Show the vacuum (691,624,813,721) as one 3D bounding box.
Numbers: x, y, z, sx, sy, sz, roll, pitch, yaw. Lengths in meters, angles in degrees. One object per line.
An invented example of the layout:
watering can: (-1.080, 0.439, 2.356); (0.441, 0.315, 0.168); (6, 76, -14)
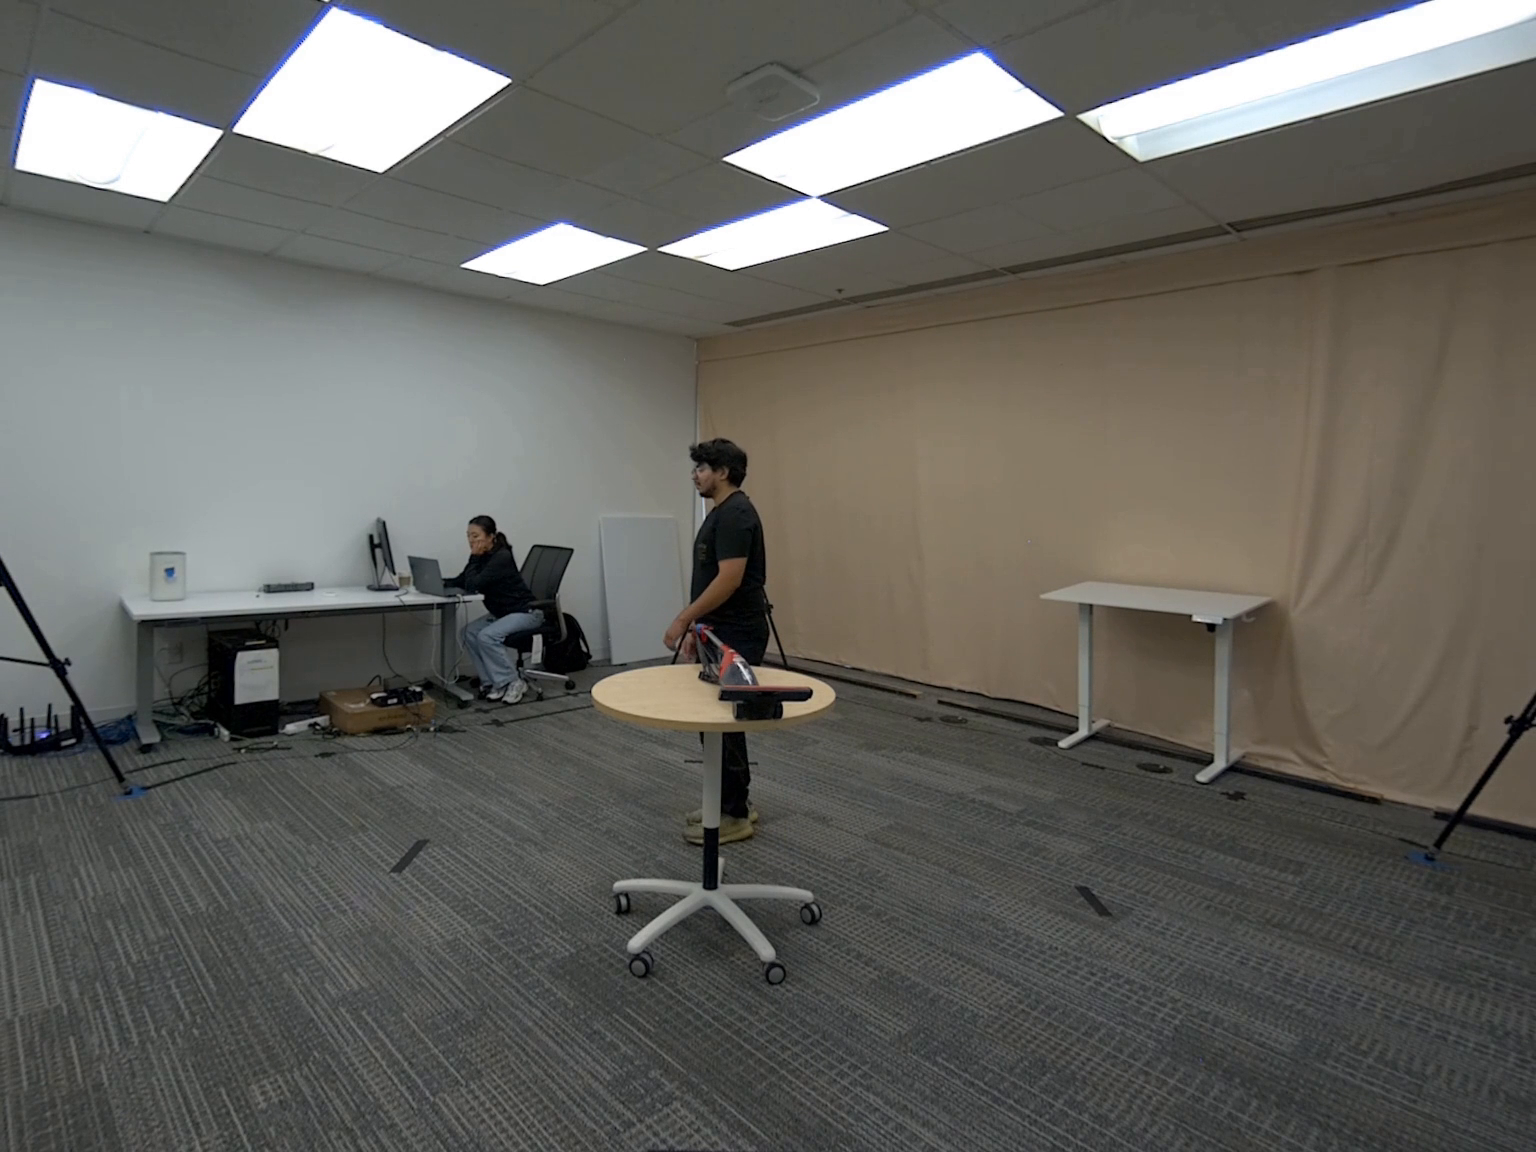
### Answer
vacuum: (-0.155, 0.300, 2.767); (0.250, 0.143, 1.064); (0, 5, -14)
